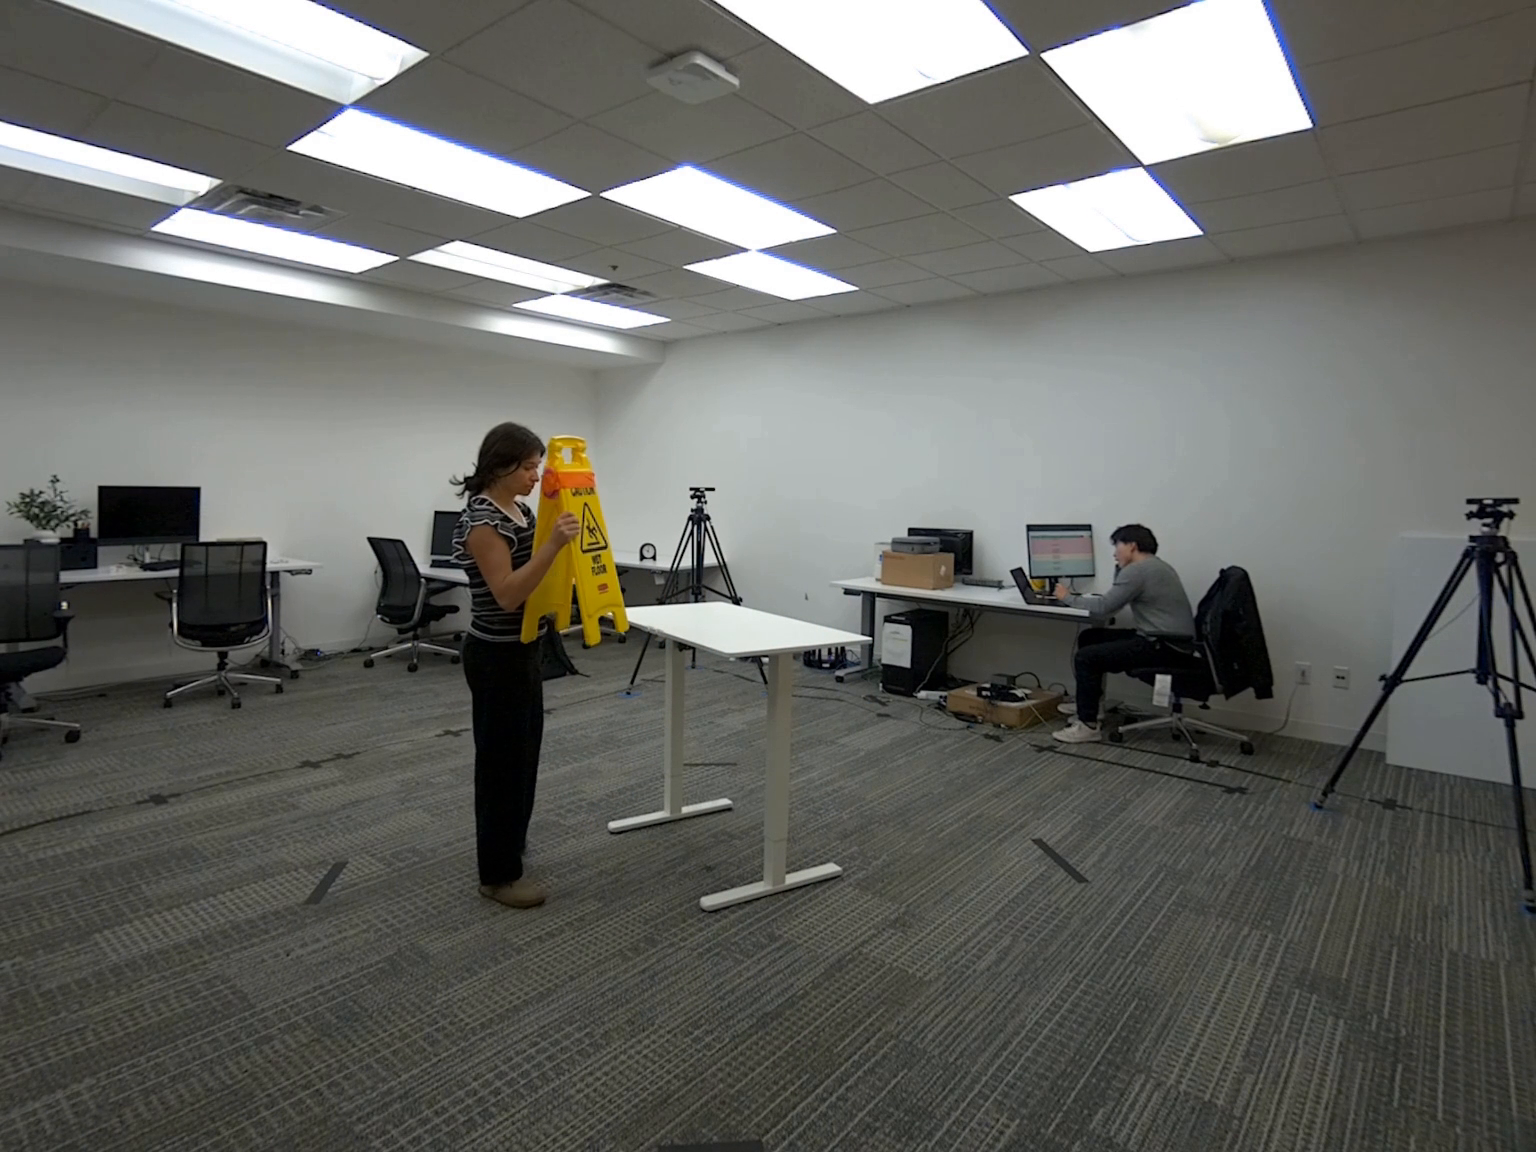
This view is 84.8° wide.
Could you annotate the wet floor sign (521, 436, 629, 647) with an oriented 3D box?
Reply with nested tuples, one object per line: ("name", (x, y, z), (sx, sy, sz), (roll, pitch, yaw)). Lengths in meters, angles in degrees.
("wet floor sign", (-0.665, -0.123, 2.763), (0.295, 0.643, 0.278), (0, 4, 16))
